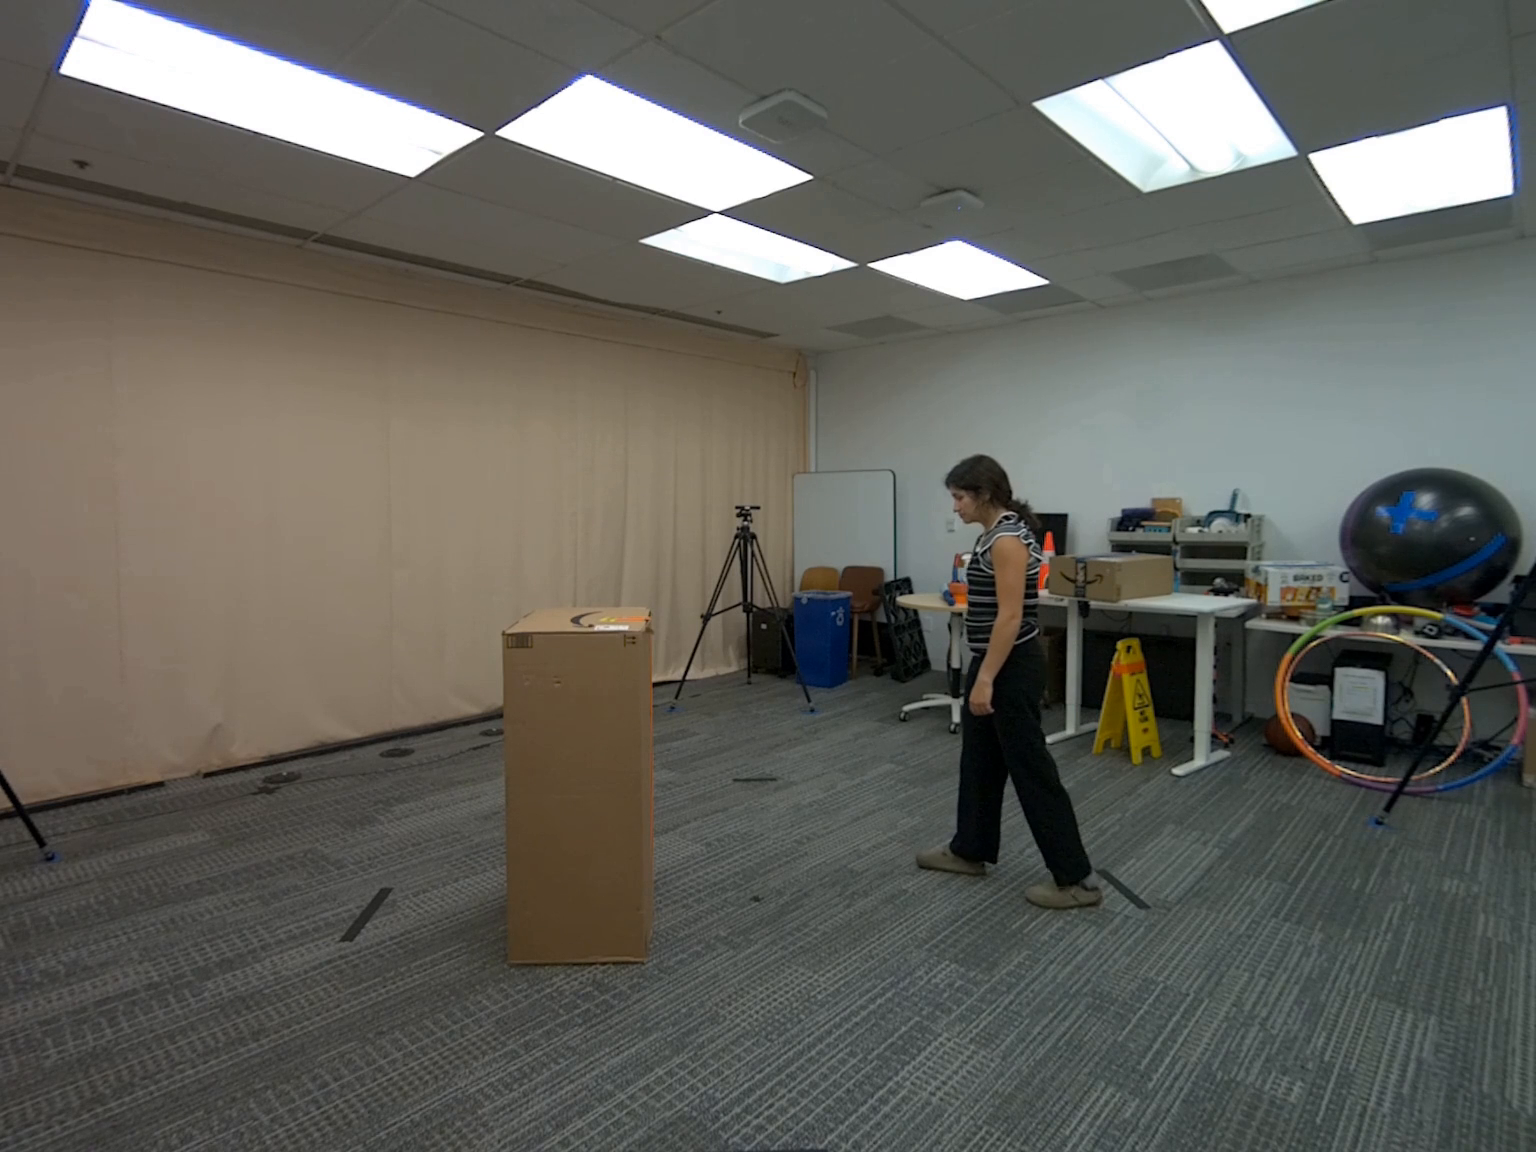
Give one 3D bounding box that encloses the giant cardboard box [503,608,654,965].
[{"bbox_3d":[-0.609,0.653,2.822,0.425,1.024,0.580,0,3,-4],"label":"giant cardboard box"}]
